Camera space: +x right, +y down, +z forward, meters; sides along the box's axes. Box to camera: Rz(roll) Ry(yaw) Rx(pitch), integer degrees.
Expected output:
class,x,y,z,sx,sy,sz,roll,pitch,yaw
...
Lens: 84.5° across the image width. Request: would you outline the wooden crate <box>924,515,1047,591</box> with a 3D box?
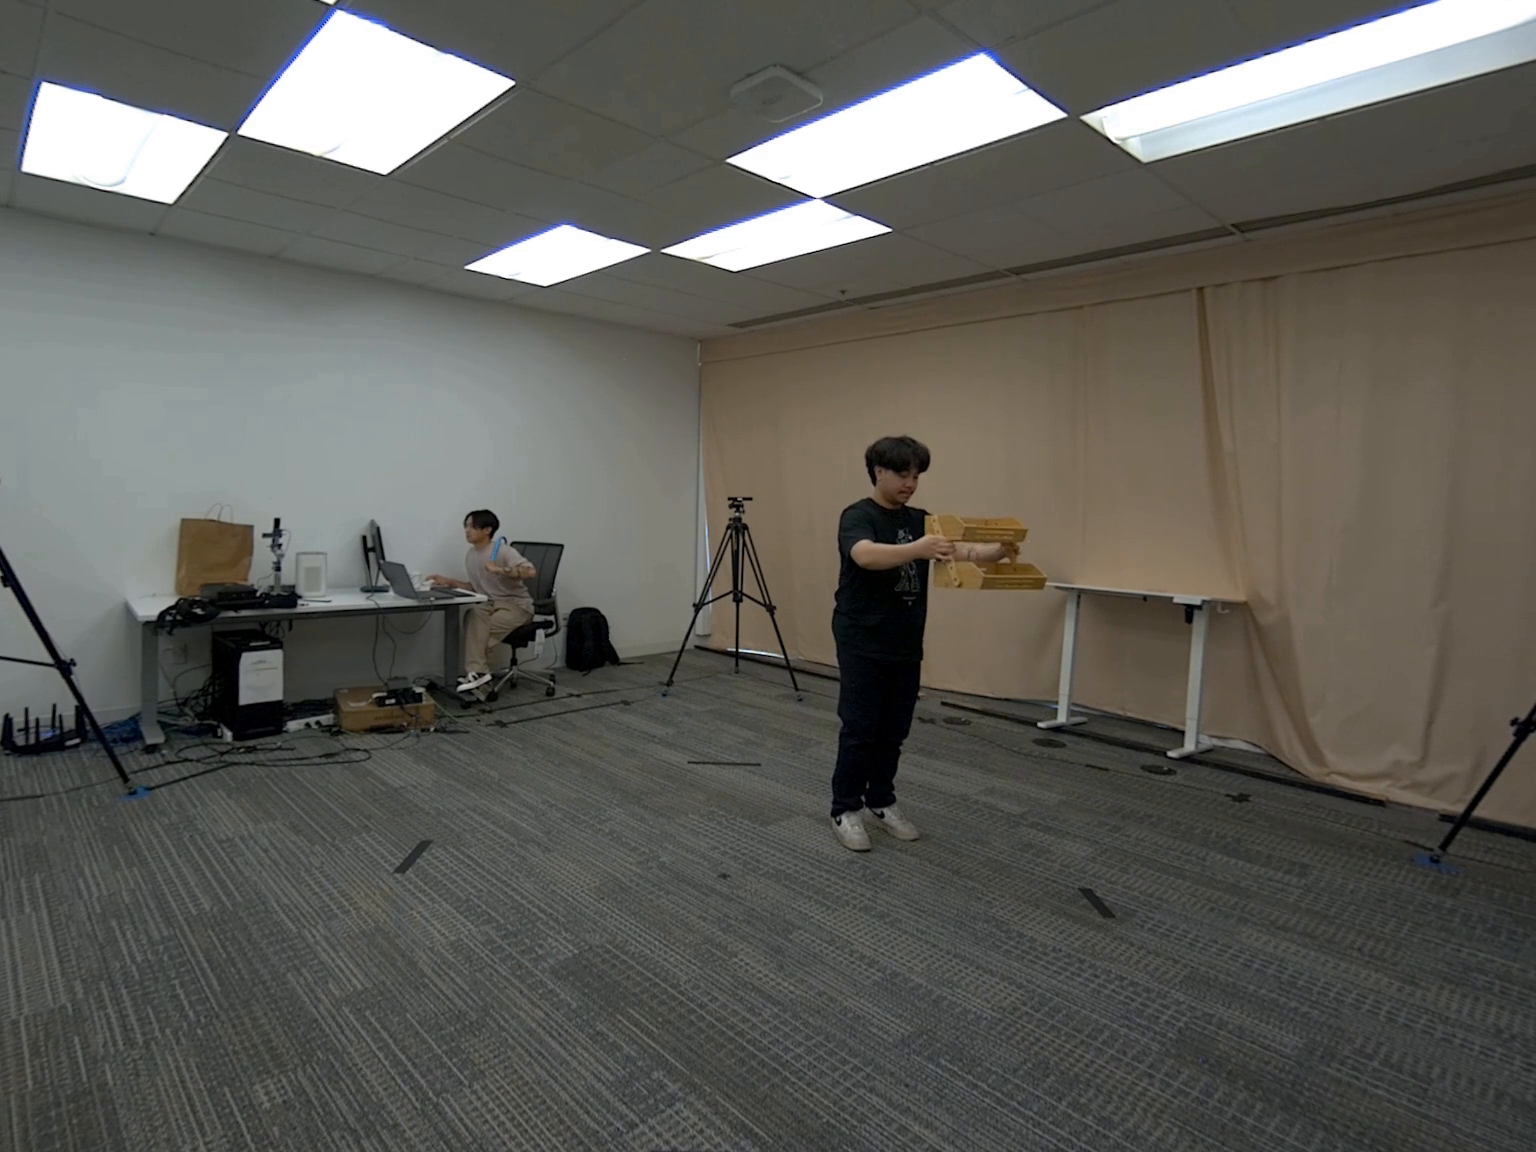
class,x,y,z,sx,sy,sz,roll,pitch,yaw
wooden crate,0.772,-0.092,3.020,0.318,0.273,0.308,1,-1,-29
